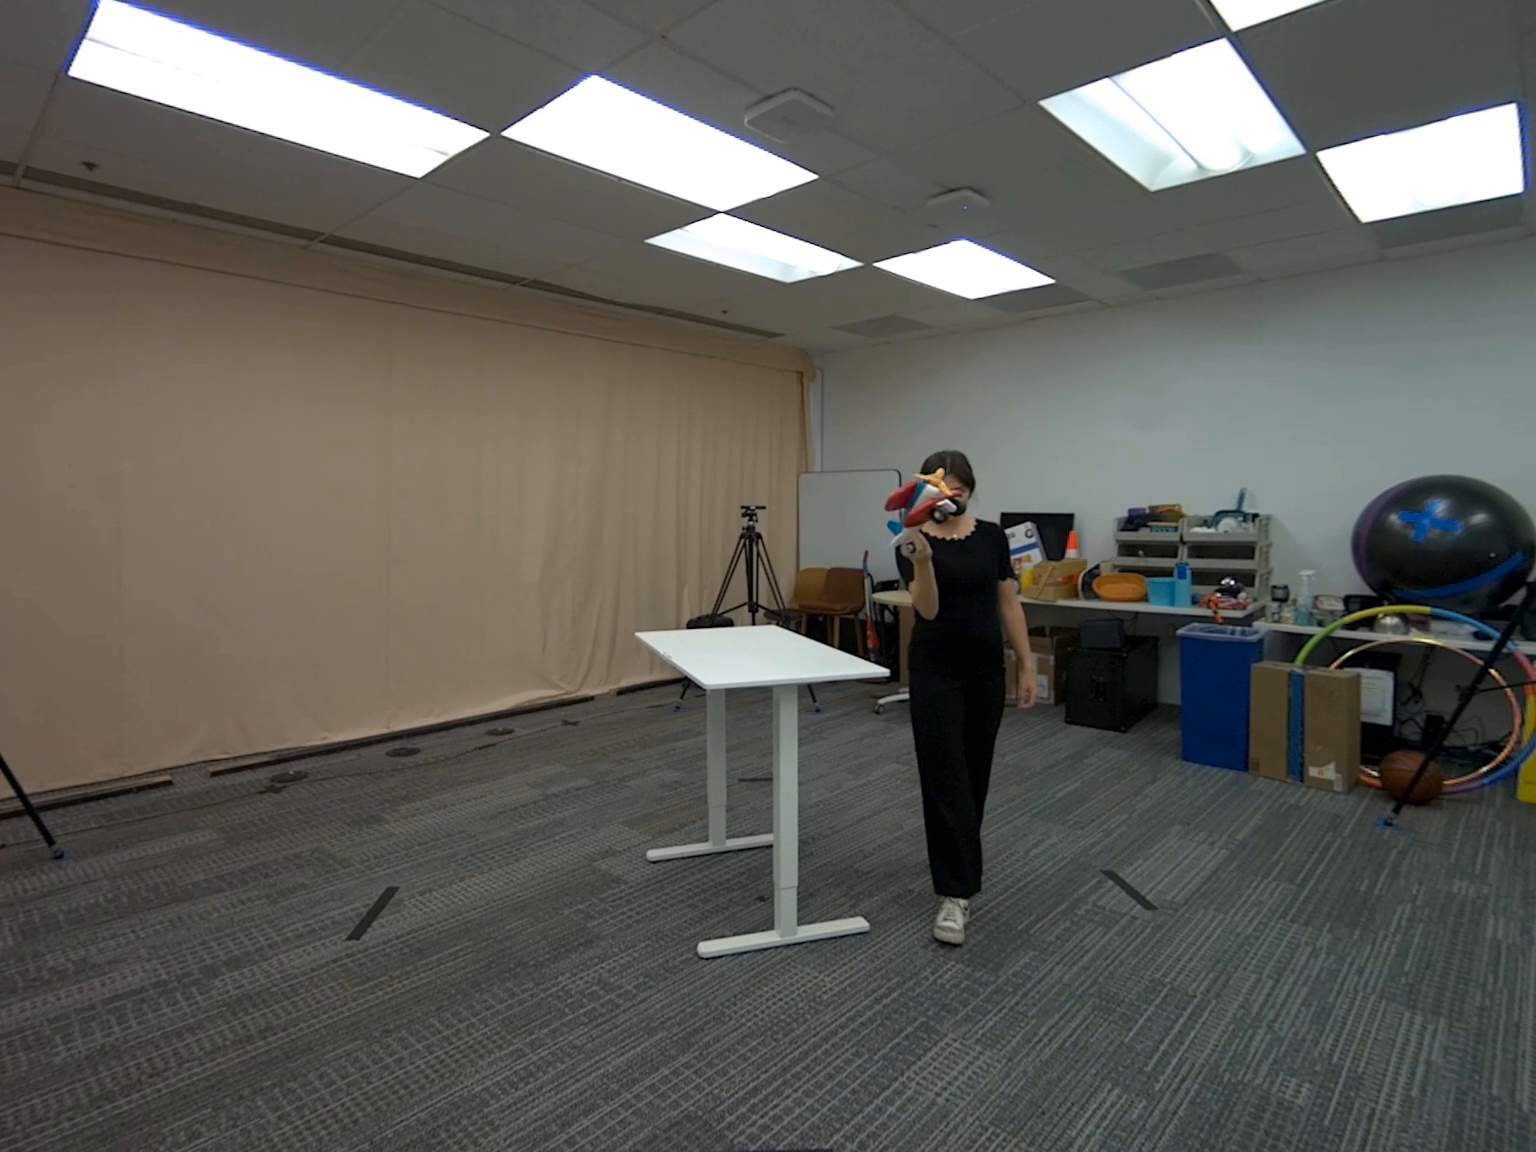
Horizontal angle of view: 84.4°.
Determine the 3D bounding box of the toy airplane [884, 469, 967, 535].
[{"bbox_3d":[0.451,-0.182,2.489,0.262,0.159,0.244,-38,-16,22],"label":"toy airplane"}]
